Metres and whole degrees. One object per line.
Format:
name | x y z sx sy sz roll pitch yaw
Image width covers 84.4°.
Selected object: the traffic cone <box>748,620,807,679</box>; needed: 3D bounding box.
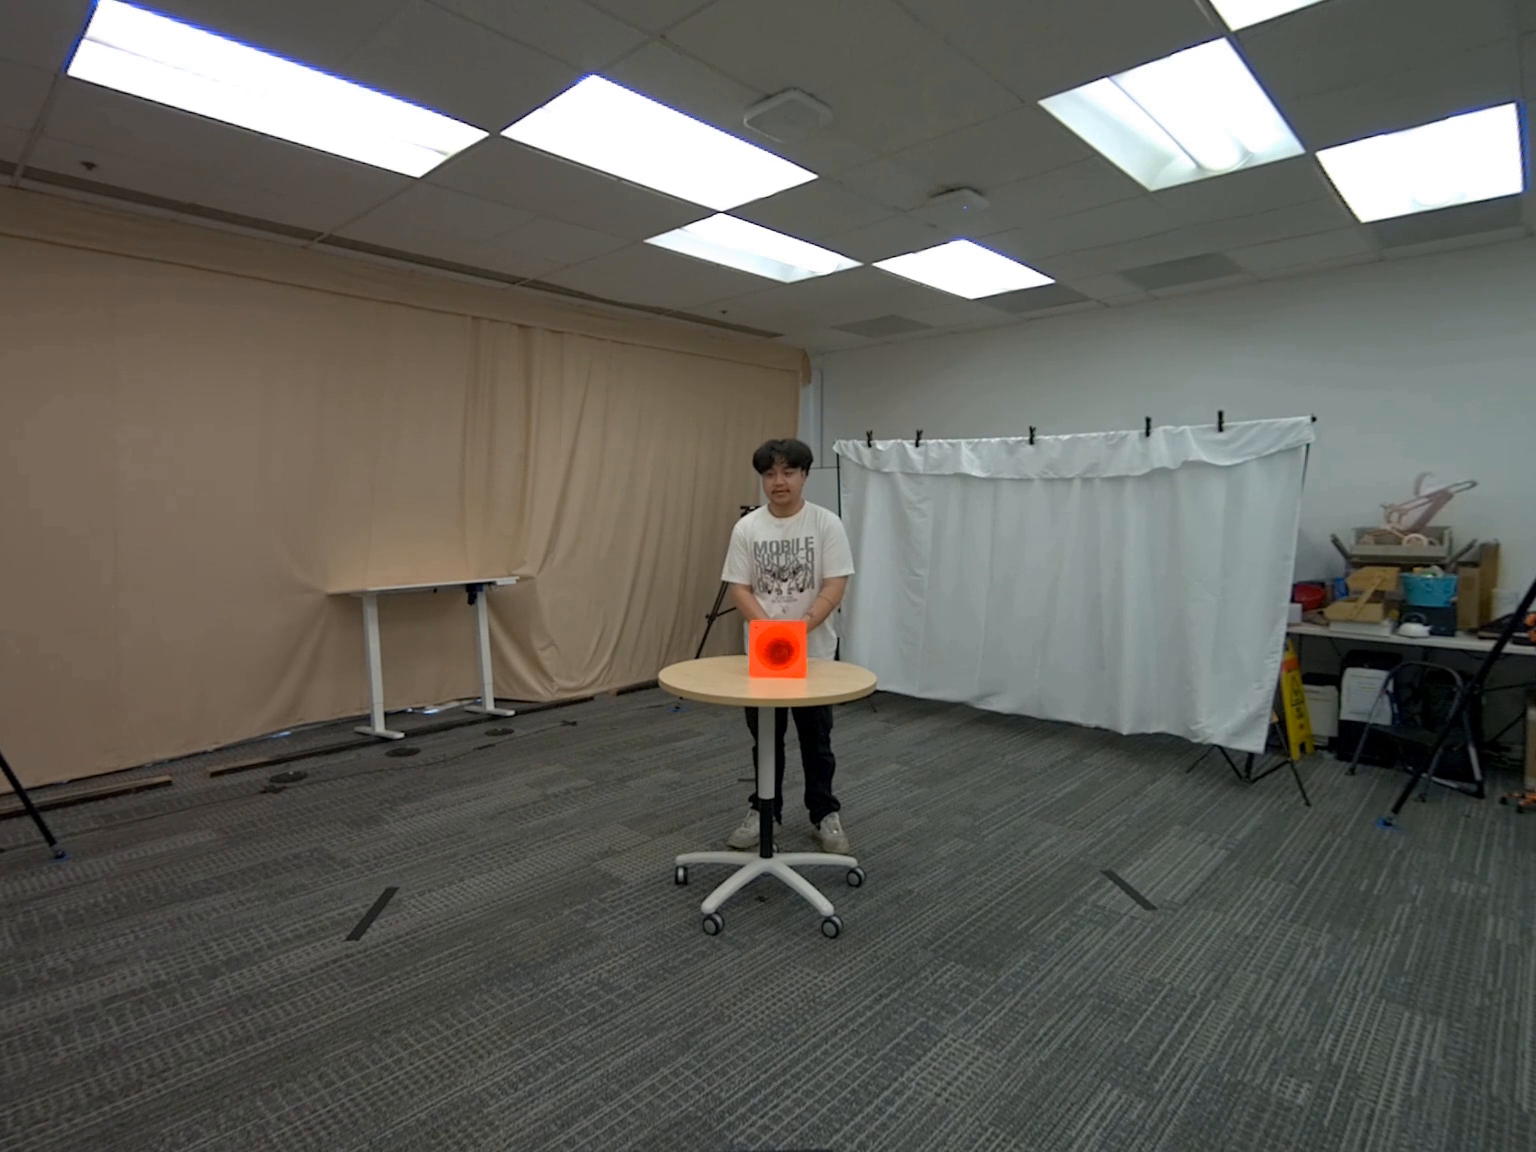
traffic cone | 0.052 0.280 3.124 0.204 0.206 0.380 -3 -6 3
